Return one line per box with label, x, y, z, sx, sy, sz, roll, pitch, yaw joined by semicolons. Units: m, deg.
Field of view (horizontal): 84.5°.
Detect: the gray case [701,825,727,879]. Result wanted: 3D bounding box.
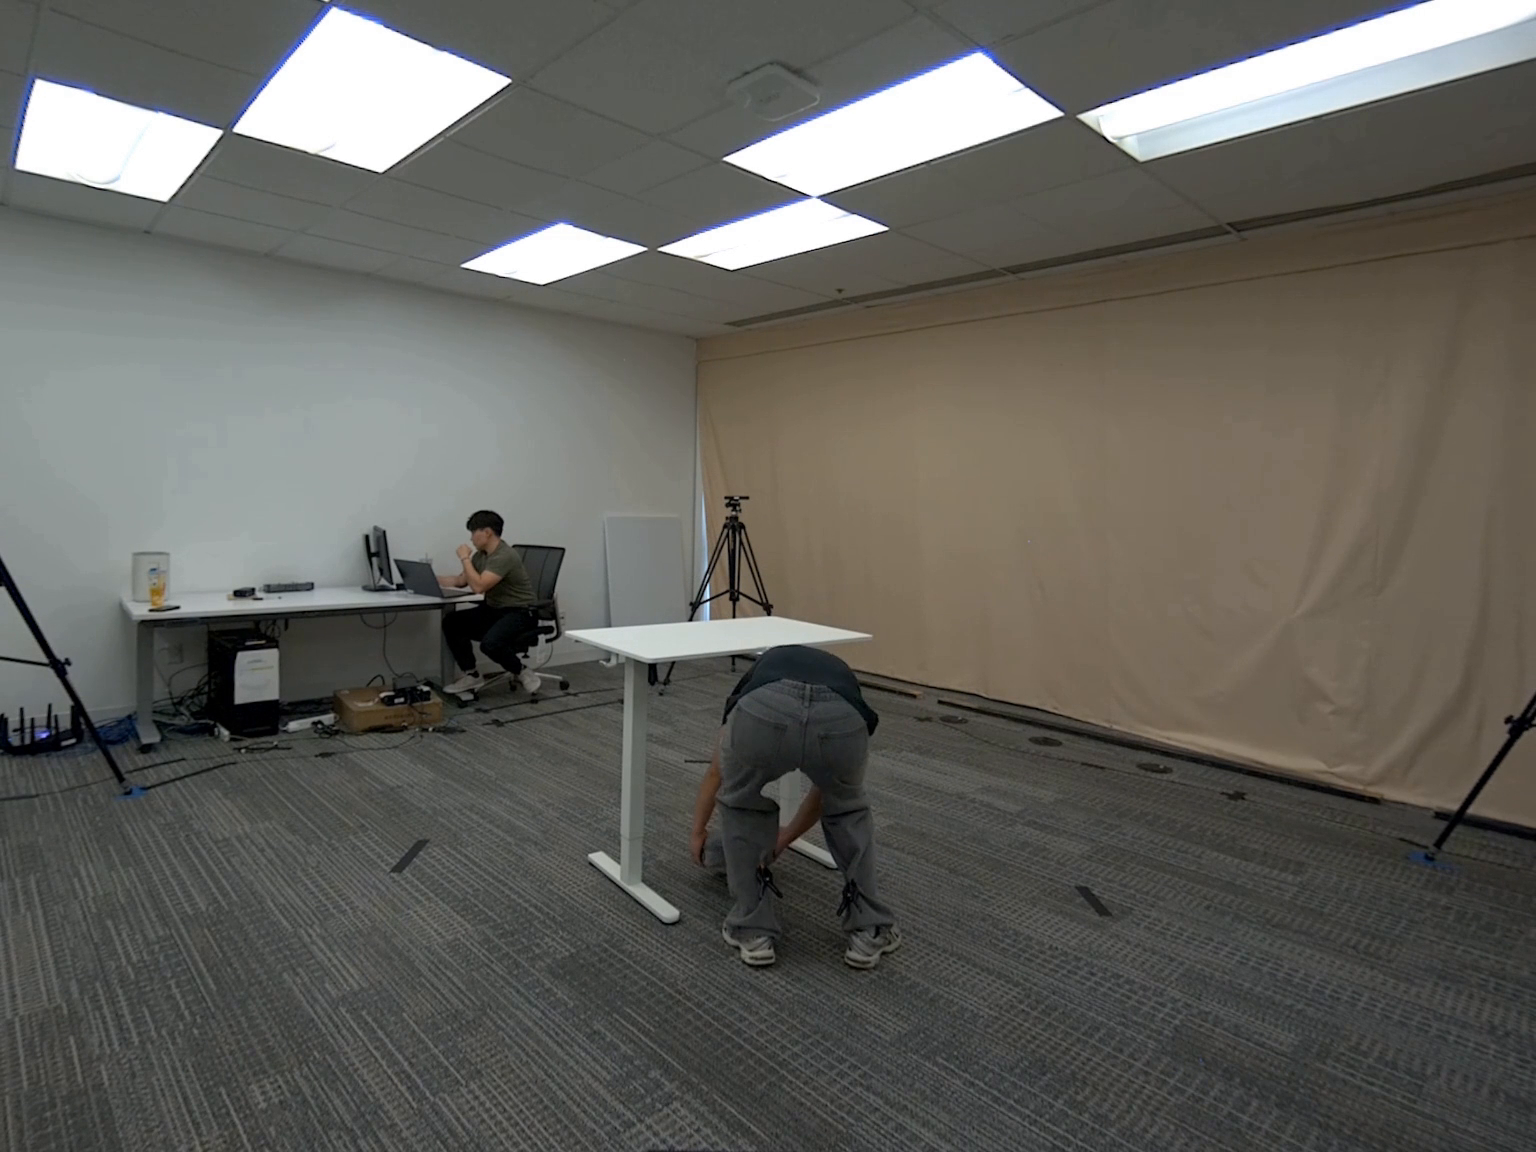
gray case;-0.143;0.986;3.055;0.260;0.104;0.288;3;-11;-15
